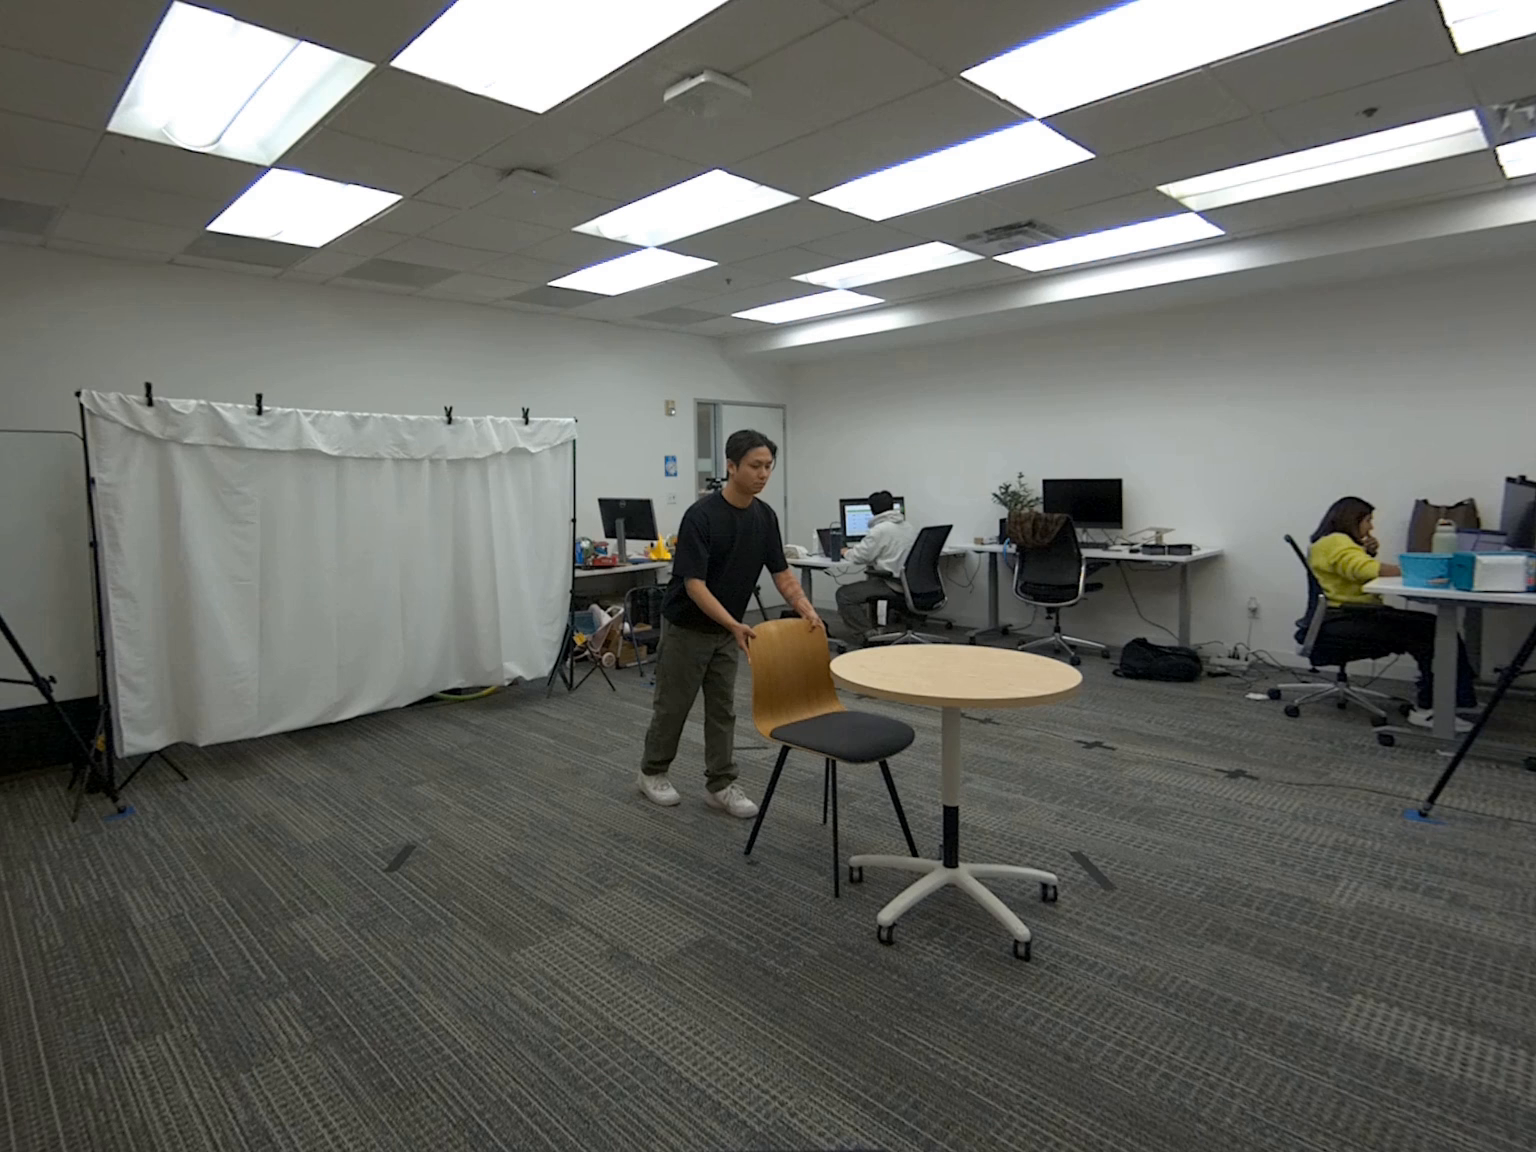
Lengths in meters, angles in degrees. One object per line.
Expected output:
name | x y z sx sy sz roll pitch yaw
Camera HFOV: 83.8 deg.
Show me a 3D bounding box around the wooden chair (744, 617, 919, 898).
wooden chair | 0.227 0.610 3.110 0.465 0.877 0.538 -5 1 -42
